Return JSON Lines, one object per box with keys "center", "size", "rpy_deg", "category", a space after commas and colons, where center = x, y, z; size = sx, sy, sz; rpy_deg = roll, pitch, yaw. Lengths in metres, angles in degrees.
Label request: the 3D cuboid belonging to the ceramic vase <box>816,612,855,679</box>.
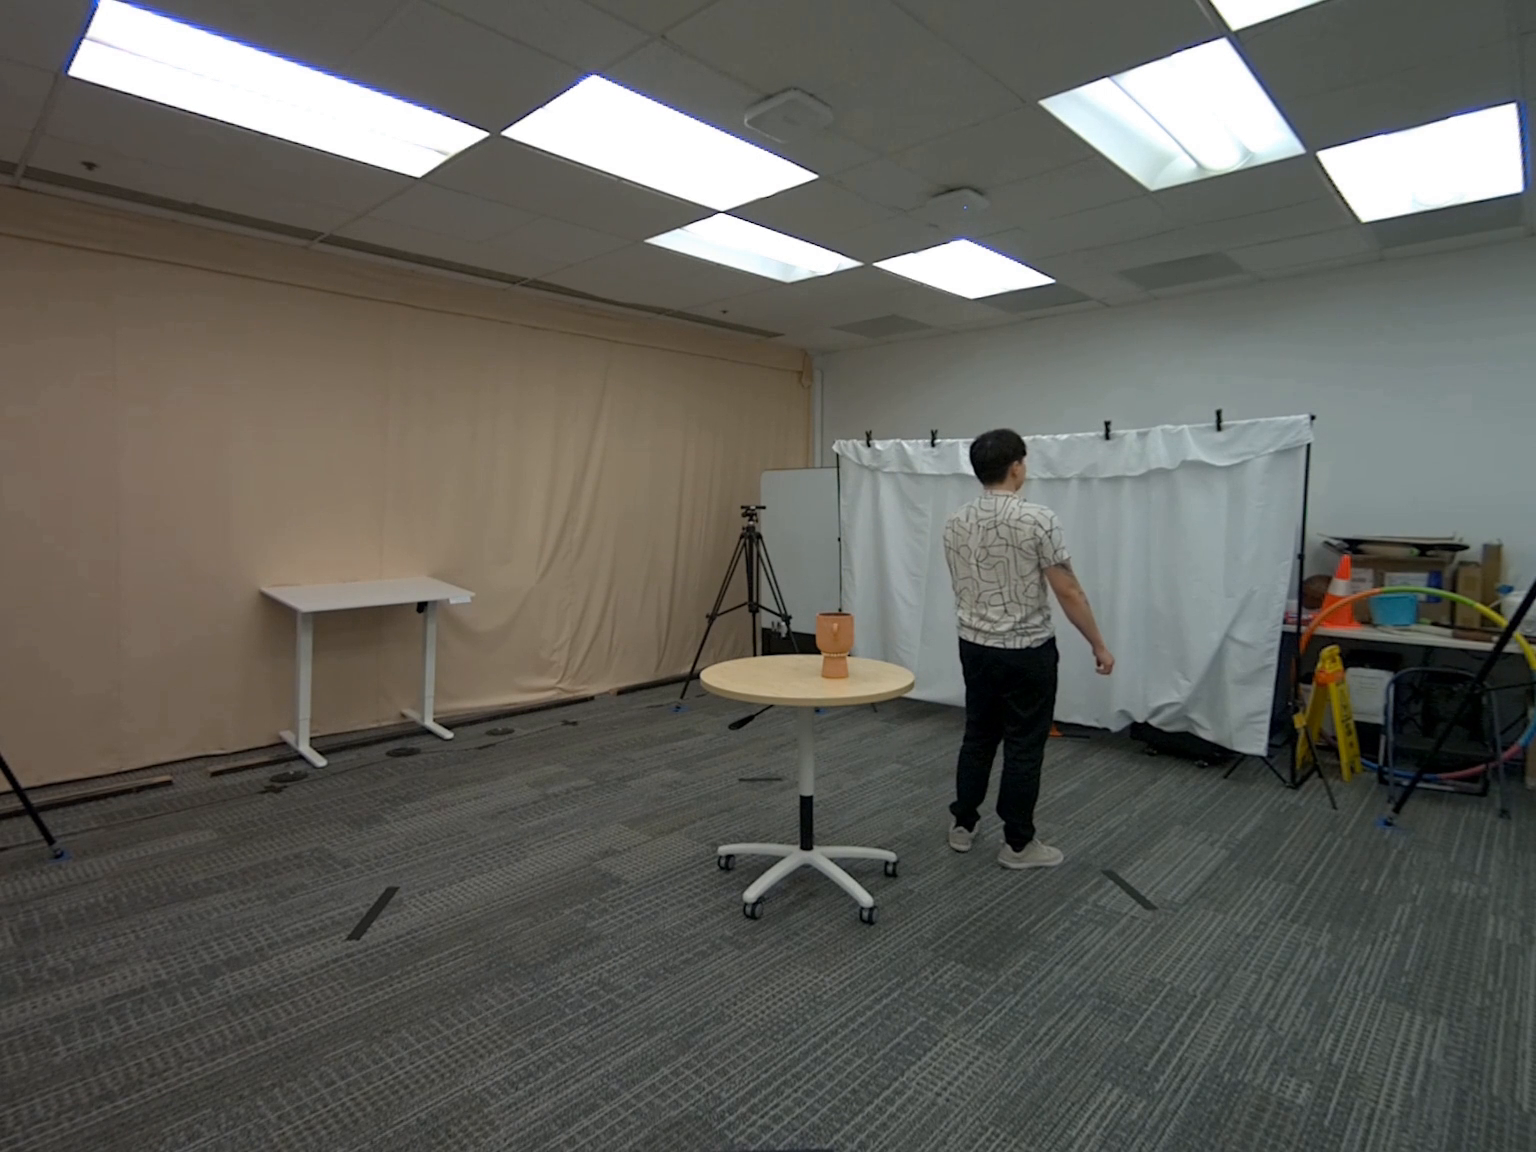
{"center": [0.243, 0.248, 2.985], "size": [0.139, 0.219, 0.154], "rpy_deg": [4, 4, 43], "category": "ceramic vase"}
